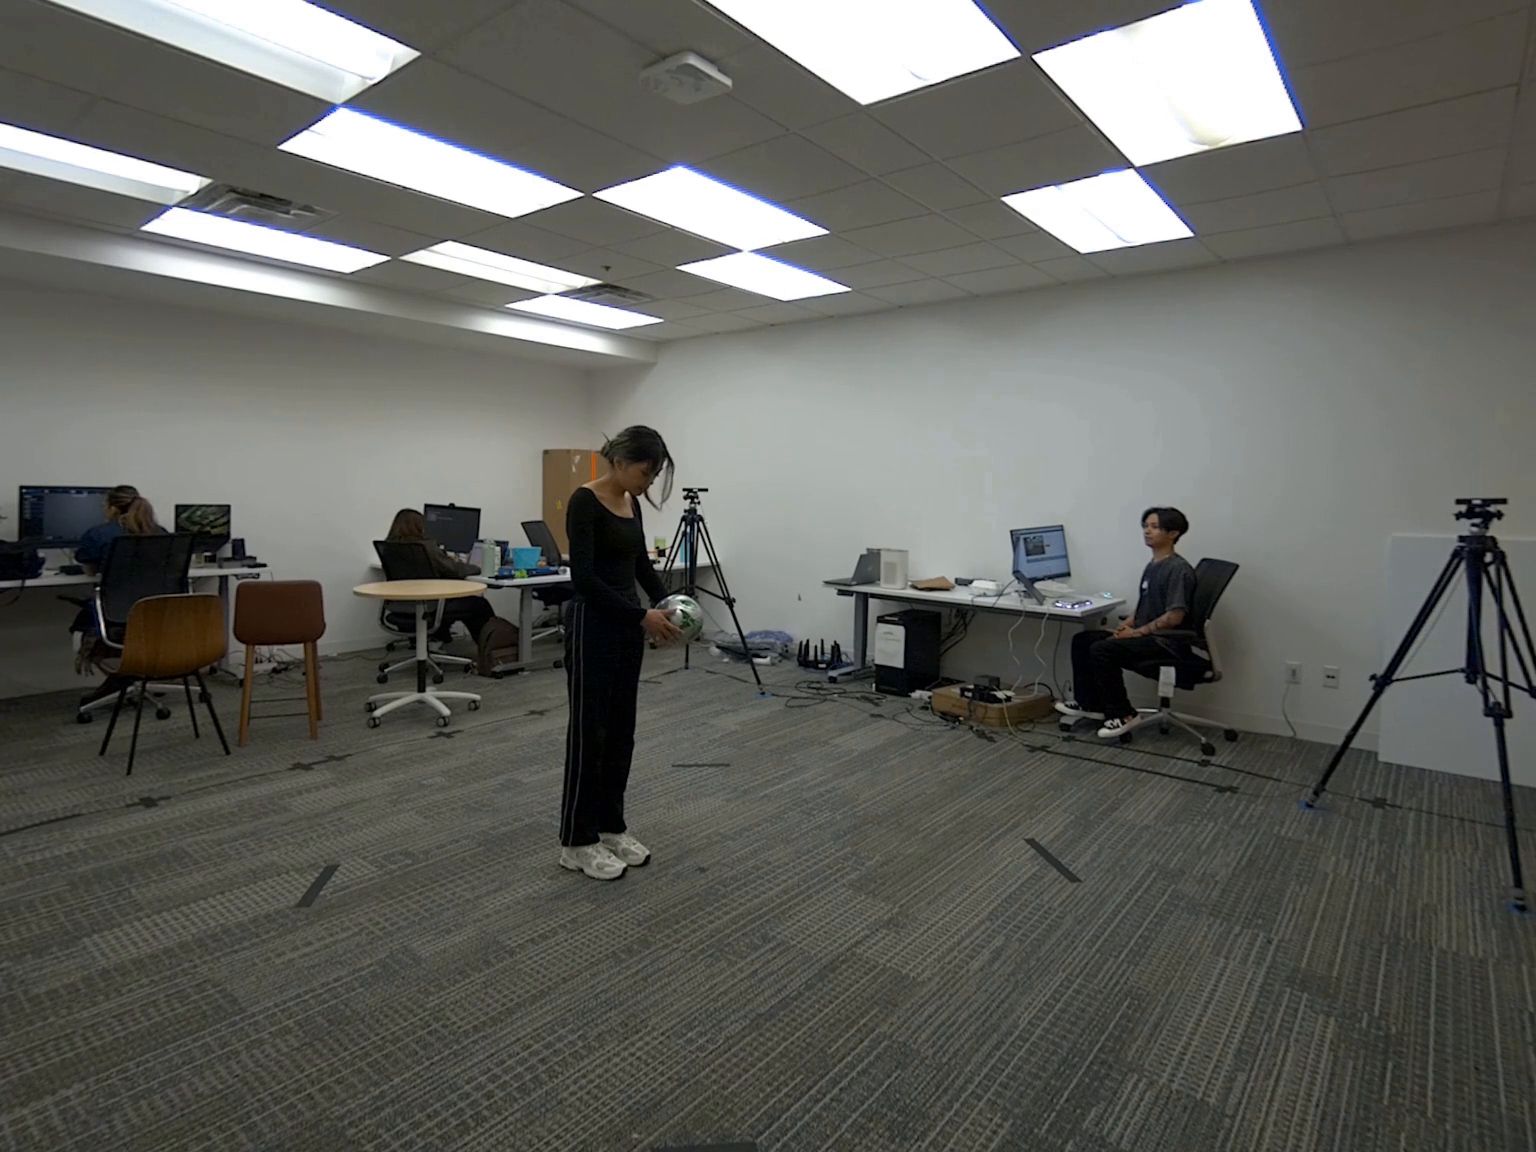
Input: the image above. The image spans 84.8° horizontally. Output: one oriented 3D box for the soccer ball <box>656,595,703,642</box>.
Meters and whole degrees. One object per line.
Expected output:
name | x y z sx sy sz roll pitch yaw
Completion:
soccer ball | -0.347 0.163 3.135 0.187 0.187 0.188 1 4 -2
